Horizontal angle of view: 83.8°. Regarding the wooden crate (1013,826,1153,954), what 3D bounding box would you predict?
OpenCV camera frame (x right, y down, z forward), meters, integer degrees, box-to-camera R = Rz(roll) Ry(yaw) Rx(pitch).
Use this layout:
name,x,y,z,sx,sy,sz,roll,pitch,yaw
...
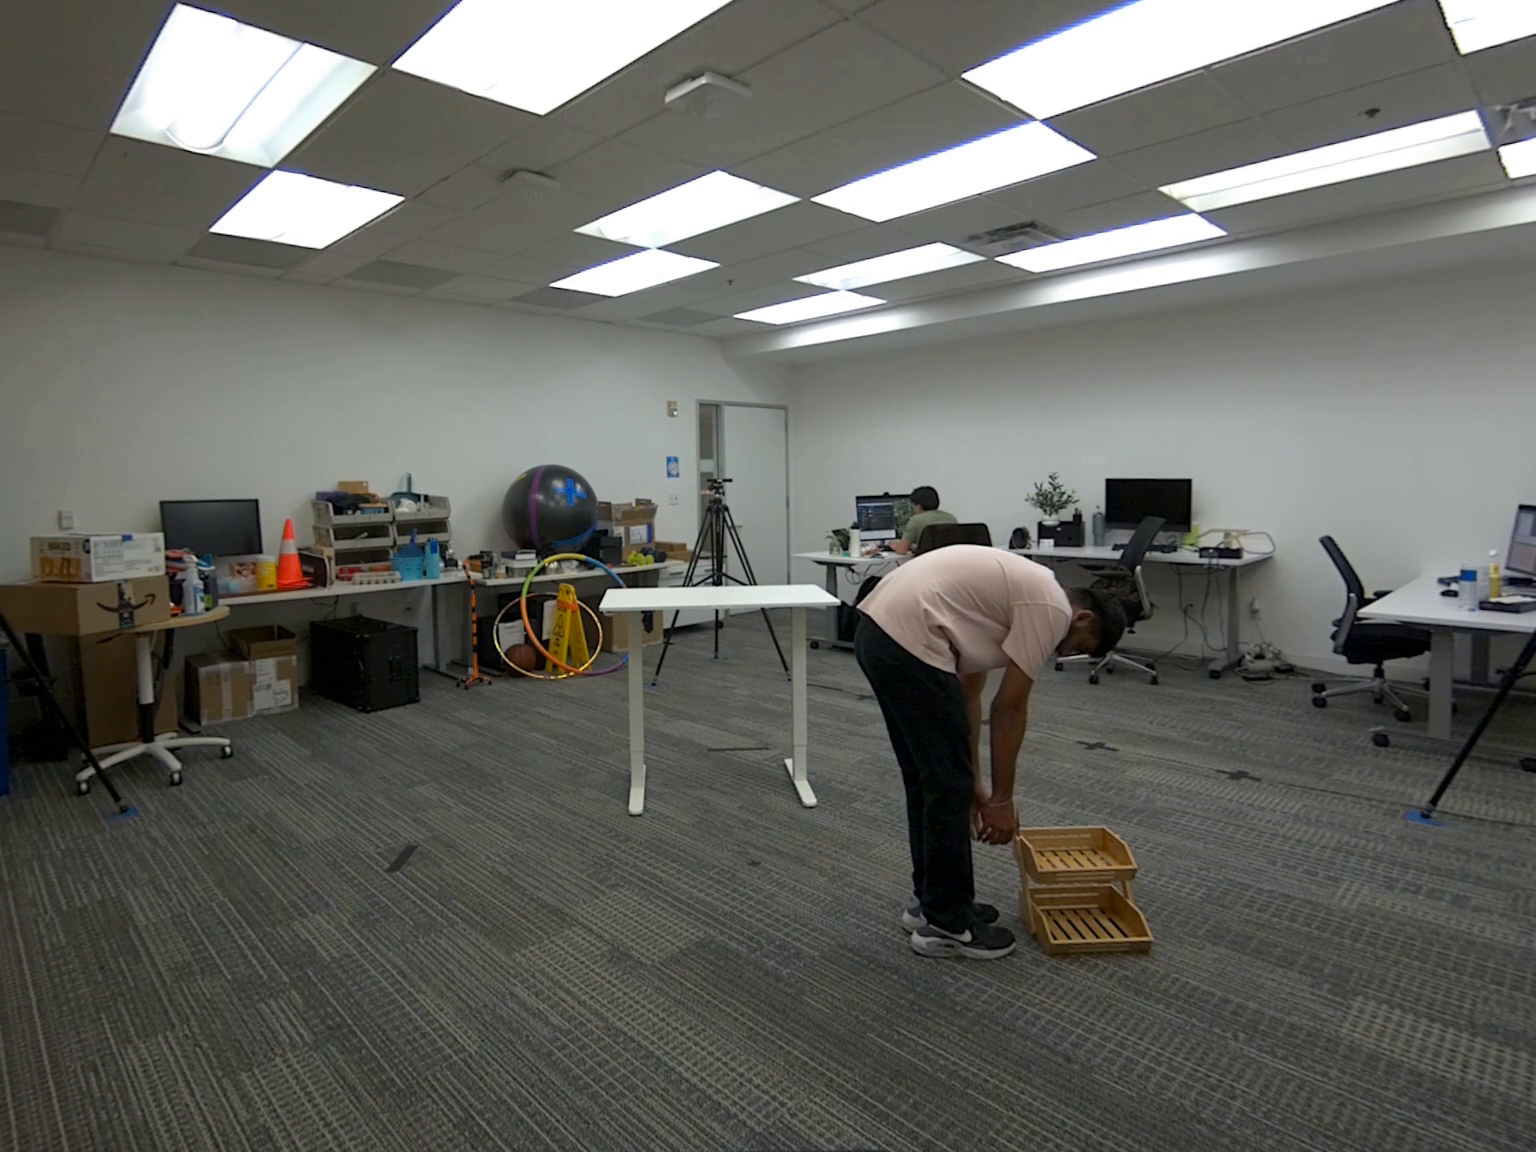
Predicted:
name,x,y,z,sx,sy,sz,roll,pitch,yaw
wooden crate,0.953,0.951,2.603,0.324,0.272,0.304,-2,4,-3
